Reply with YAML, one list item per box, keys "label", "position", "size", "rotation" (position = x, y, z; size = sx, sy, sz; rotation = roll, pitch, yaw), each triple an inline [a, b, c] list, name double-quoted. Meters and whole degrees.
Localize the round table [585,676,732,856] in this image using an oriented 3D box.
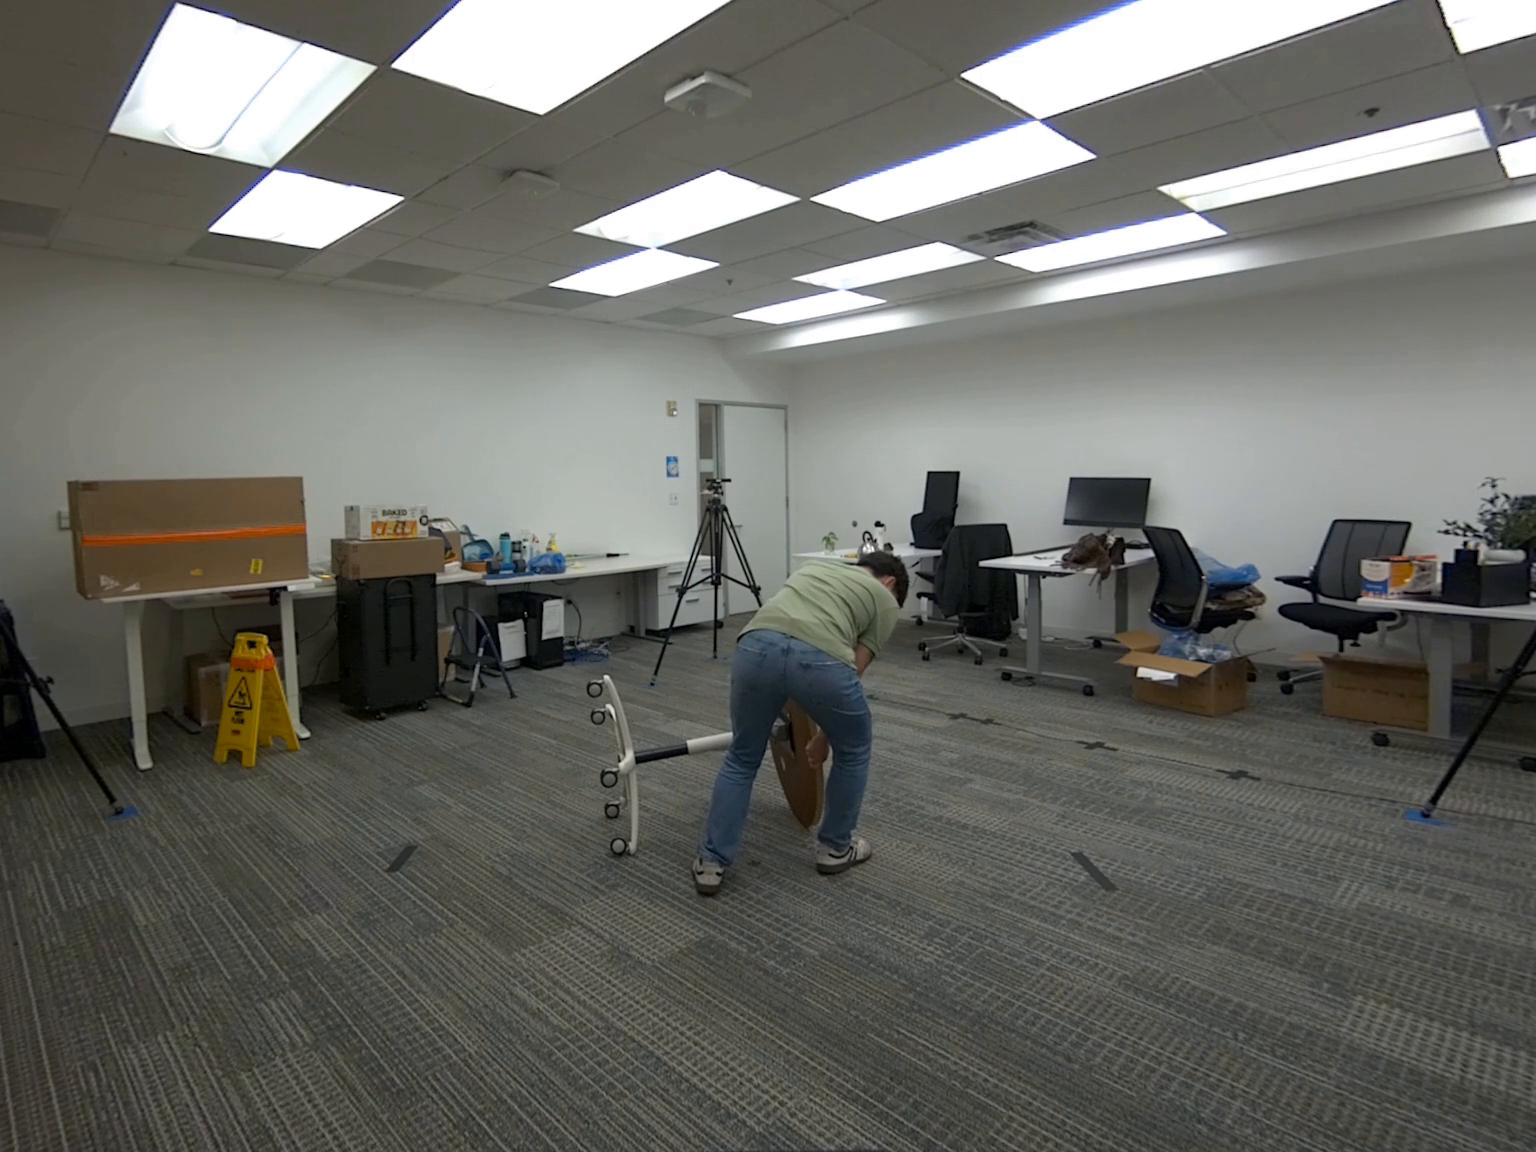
- label: "round table"
  position: [-0.281, 0.678, 3.404]
  size: [0.786, 0.760, 0.776]
  rotation: [-9, 6, -12]
